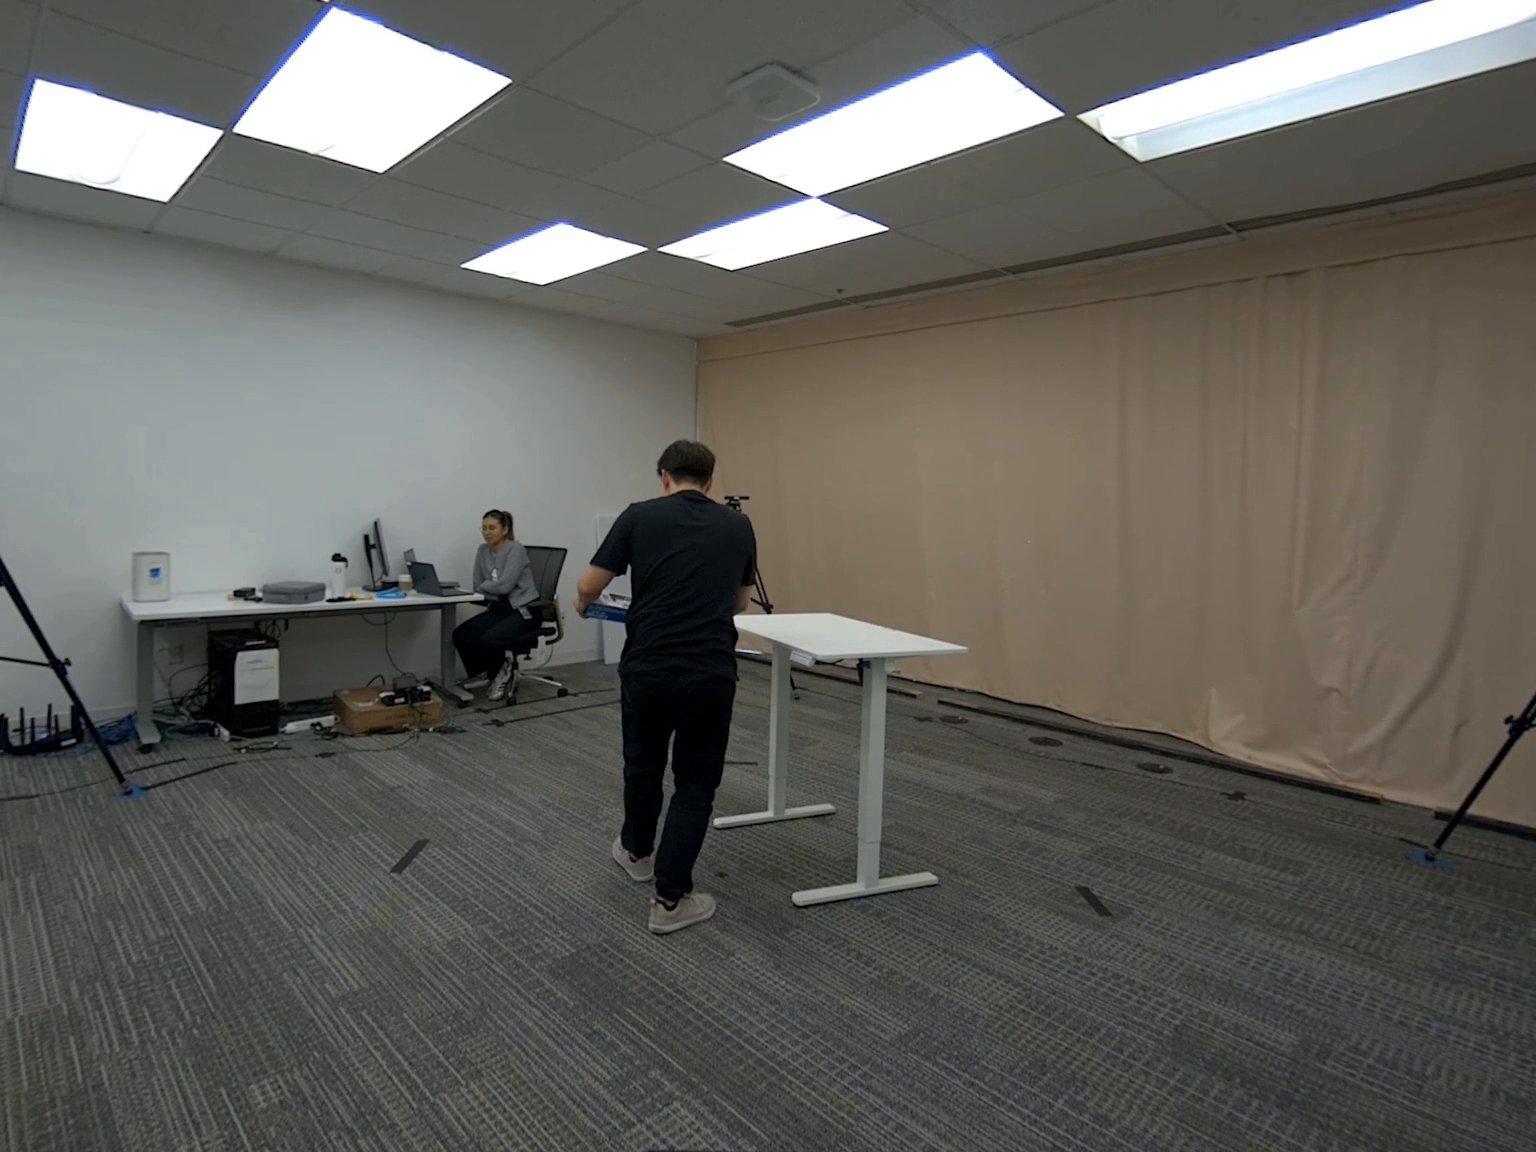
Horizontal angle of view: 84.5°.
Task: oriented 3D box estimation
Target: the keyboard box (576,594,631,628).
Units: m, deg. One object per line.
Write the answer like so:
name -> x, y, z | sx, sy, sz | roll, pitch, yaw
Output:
keyboard box -> -0.485, 0.143, 3.161 | 0.428, 0.059, 0.180 | 12, 10, -24
